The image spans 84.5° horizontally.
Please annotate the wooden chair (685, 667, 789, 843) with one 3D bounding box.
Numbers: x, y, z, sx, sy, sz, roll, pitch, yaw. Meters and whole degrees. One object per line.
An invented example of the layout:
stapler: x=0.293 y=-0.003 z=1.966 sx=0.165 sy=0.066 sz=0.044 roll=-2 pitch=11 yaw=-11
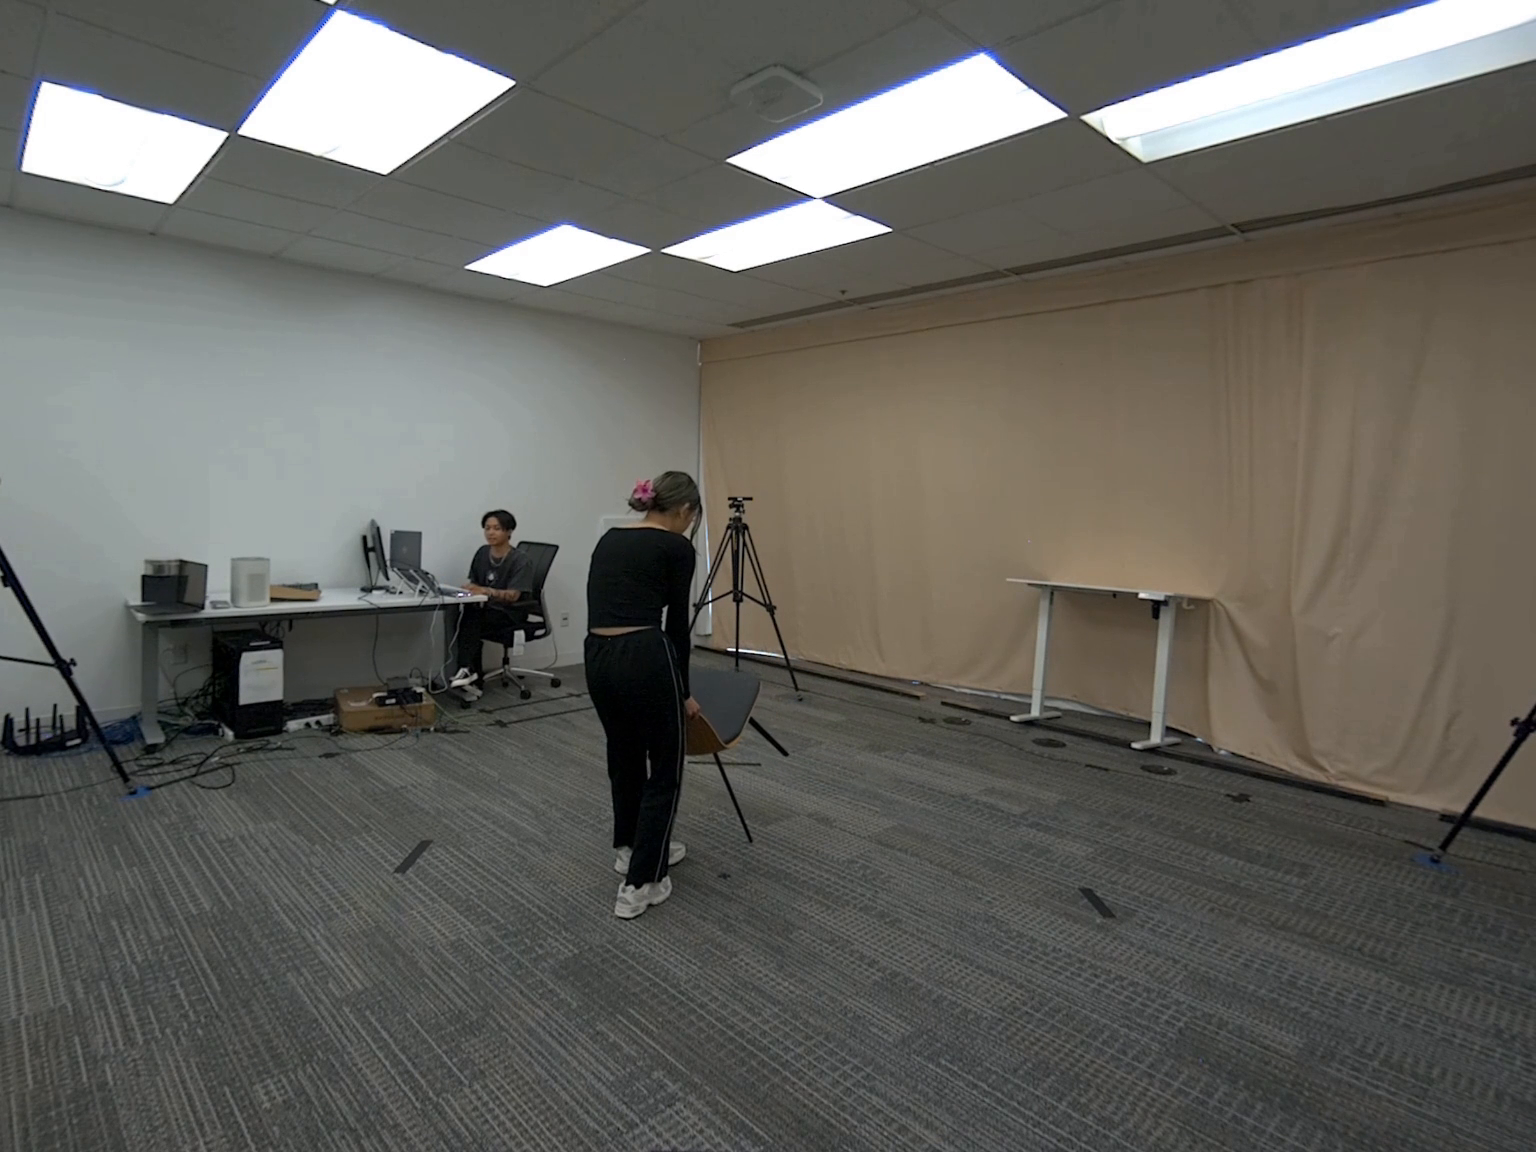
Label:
wooden chair: x=-0.286 y=0.589 z=3.423 sx=0.488 sy=0.852 sz=0.527 roll=4 pitch=45 yaw=27
